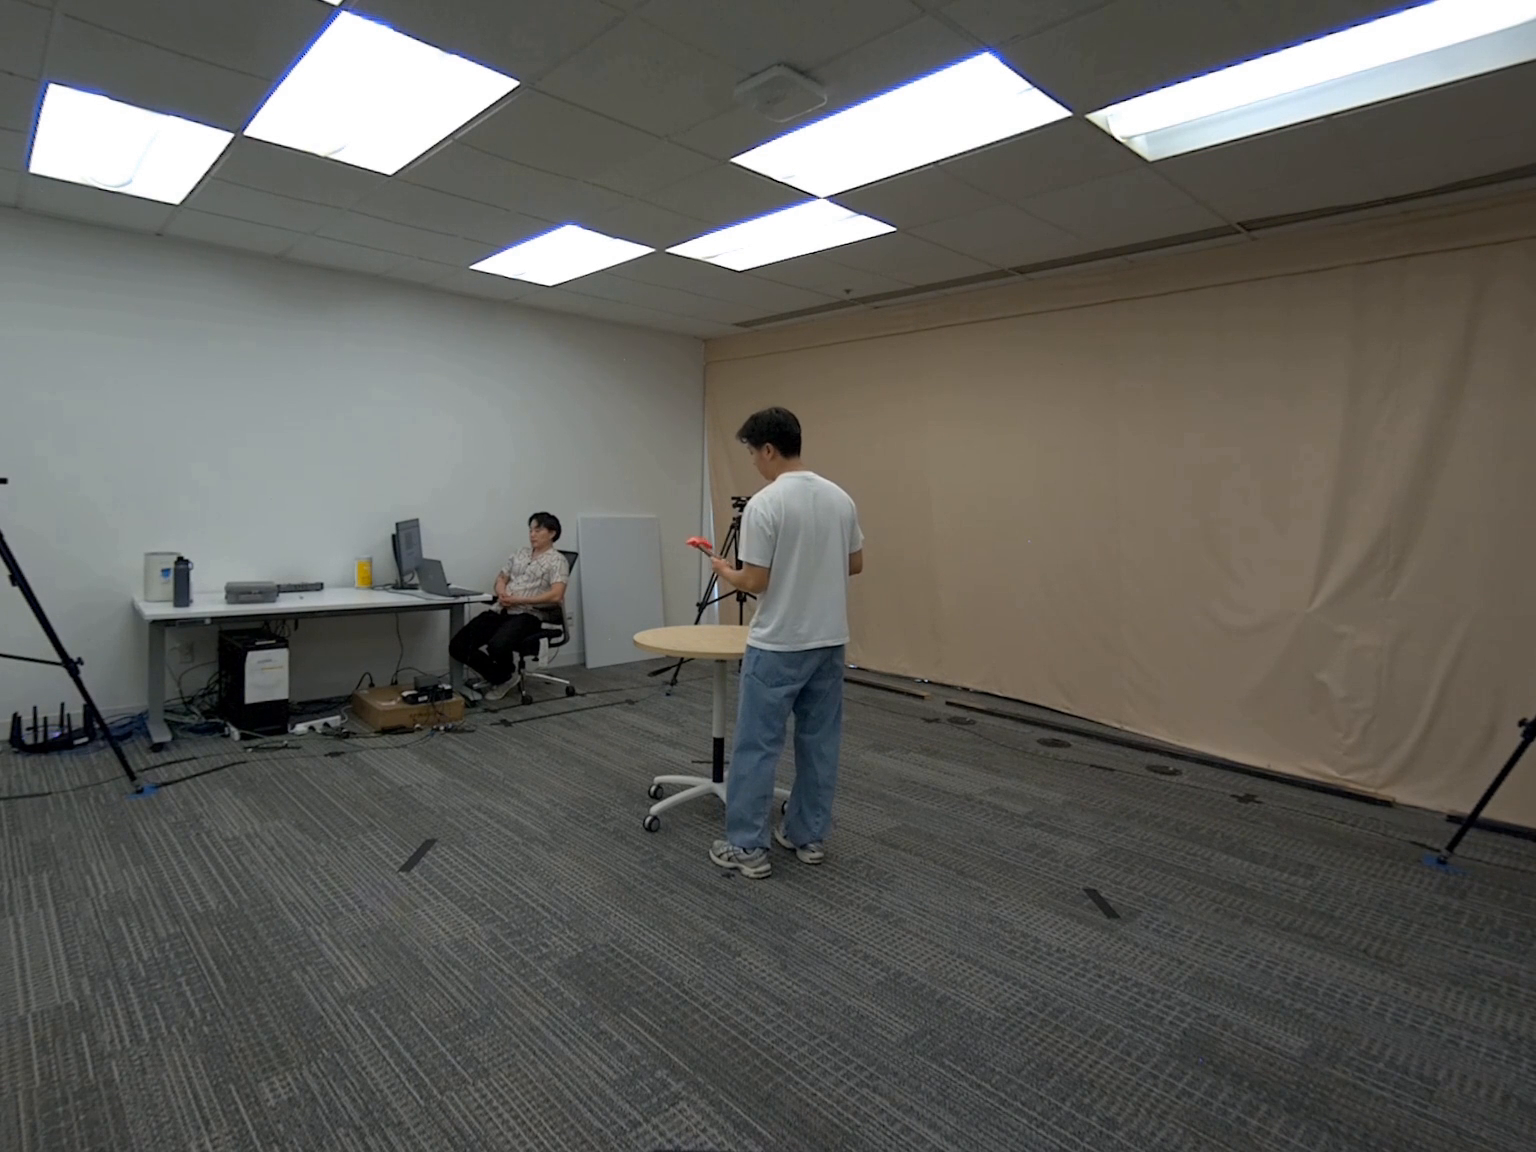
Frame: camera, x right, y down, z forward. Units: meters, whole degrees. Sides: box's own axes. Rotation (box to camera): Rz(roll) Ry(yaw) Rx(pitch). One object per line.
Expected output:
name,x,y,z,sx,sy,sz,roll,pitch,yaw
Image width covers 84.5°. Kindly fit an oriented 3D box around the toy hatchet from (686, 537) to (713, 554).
toy hatchet,-0.200,-0.085,3.418,0.273,0.029,0.130,31,22,11
